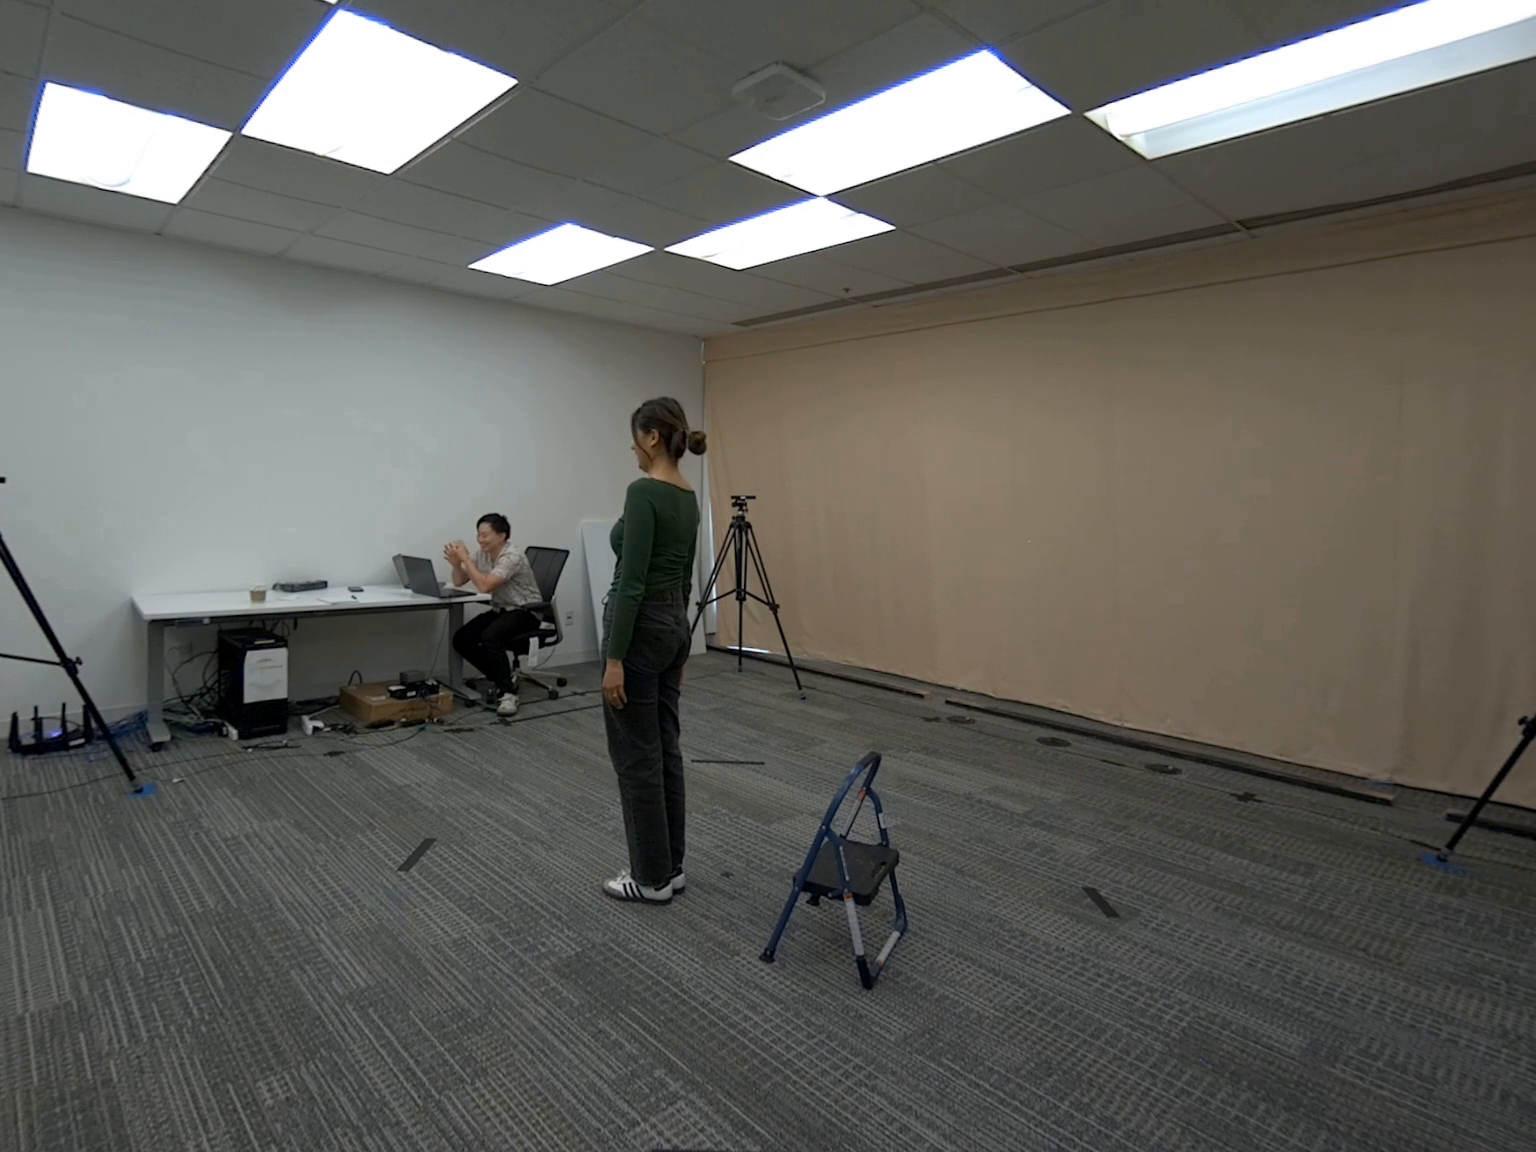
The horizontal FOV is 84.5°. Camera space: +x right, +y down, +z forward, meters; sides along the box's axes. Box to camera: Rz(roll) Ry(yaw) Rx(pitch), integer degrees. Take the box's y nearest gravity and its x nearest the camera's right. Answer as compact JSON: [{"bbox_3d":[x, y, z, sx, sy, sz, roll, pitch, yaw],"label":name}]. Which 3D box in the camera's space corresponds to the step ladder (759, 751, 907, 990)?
[{"bbox_3d":[0.224,0.851,2.620,0.356,0.604,0.424,4,5,24],"label":"step ladder"}]
